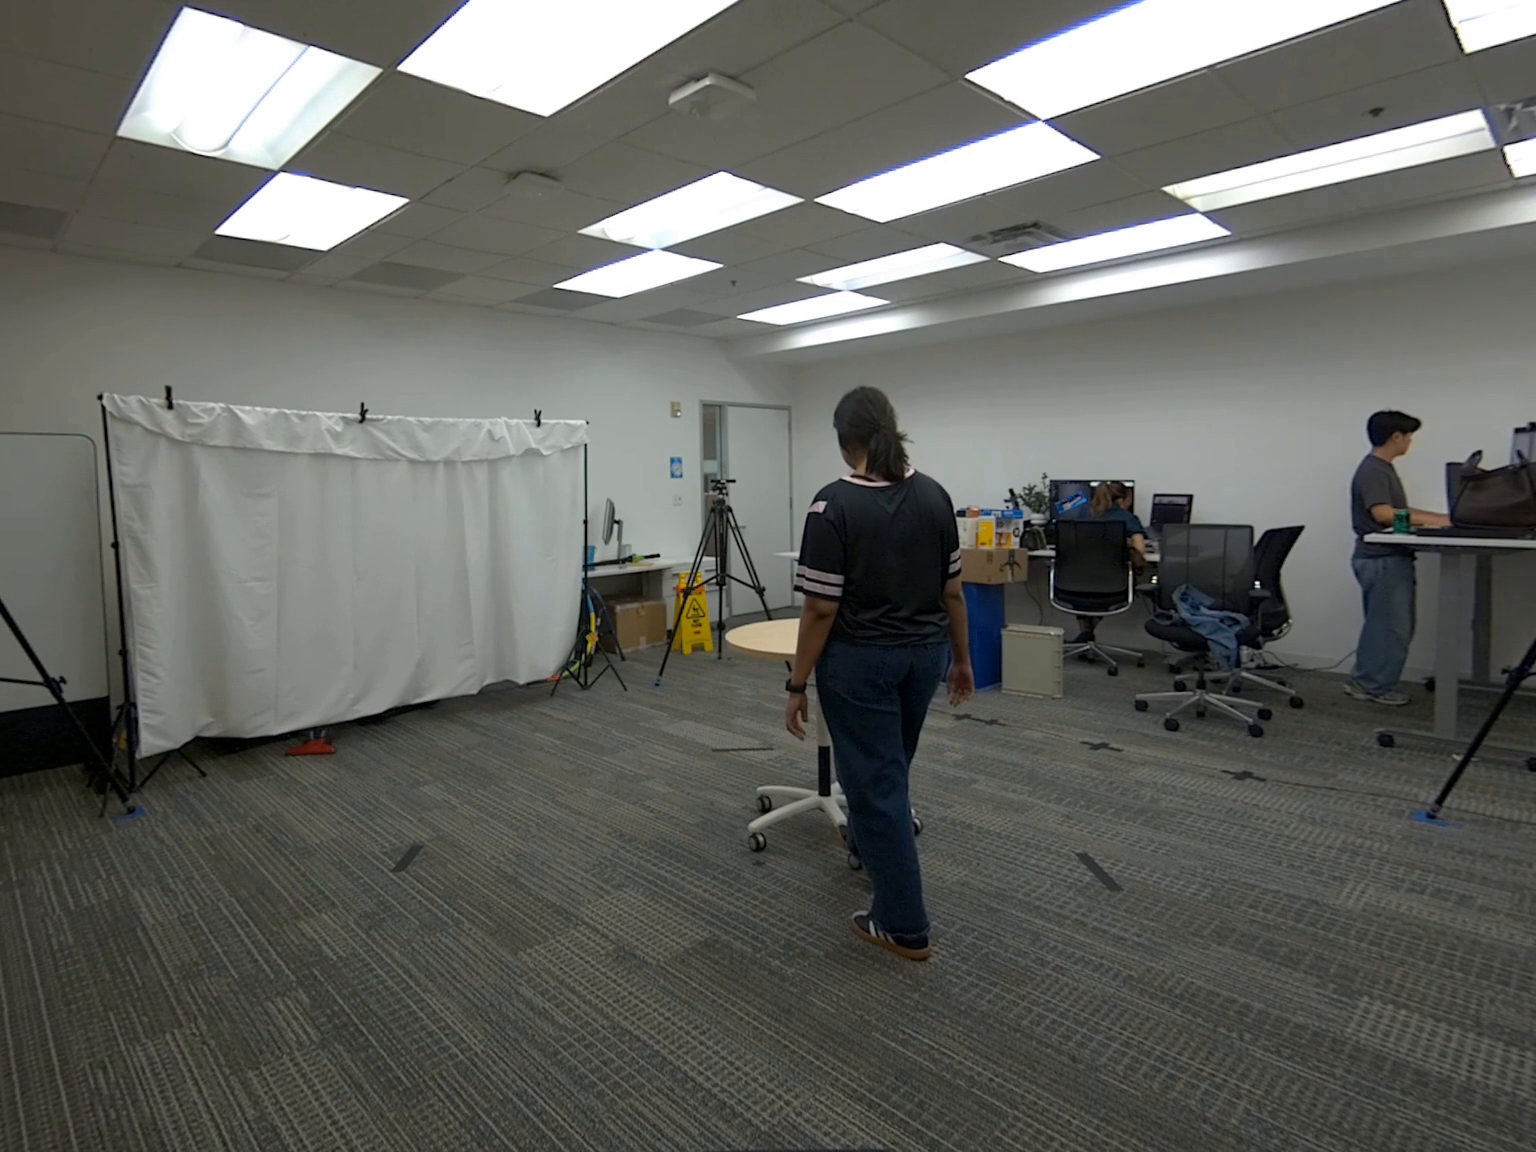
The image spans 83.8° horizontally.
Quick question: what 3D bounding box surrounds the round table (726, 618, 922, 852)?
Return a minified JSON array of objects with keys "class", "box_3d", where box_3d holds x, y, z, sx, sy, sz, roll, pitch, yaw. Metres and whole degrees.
[{"class":"round table","box_3d":[0.227,0.622,3.383,0.763,0.791,0.768,-2,4,-2]}]
